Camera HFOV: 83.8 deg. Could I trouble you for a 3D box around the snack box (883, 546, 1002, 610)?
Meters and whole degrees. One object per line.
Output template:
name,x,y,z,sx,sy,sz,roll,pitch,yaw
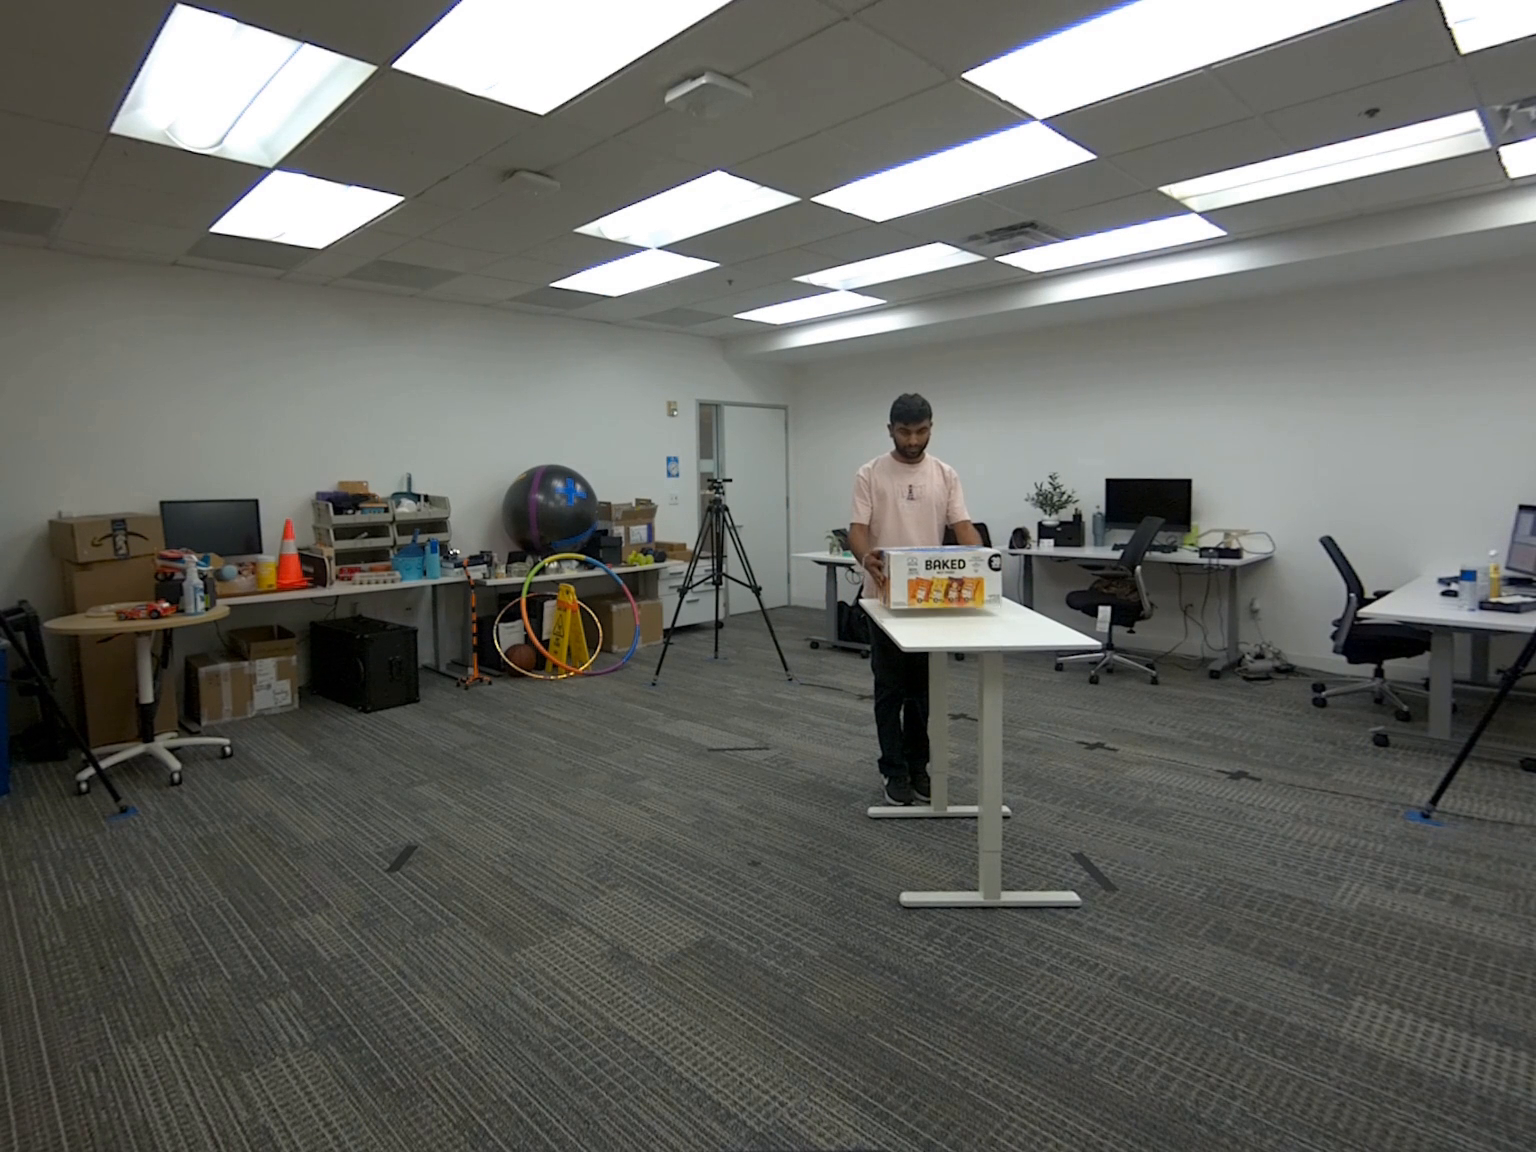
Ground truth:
snack box,0.633,-0.004,3.255,0.405,0.205,0.342,-1,5,-1
